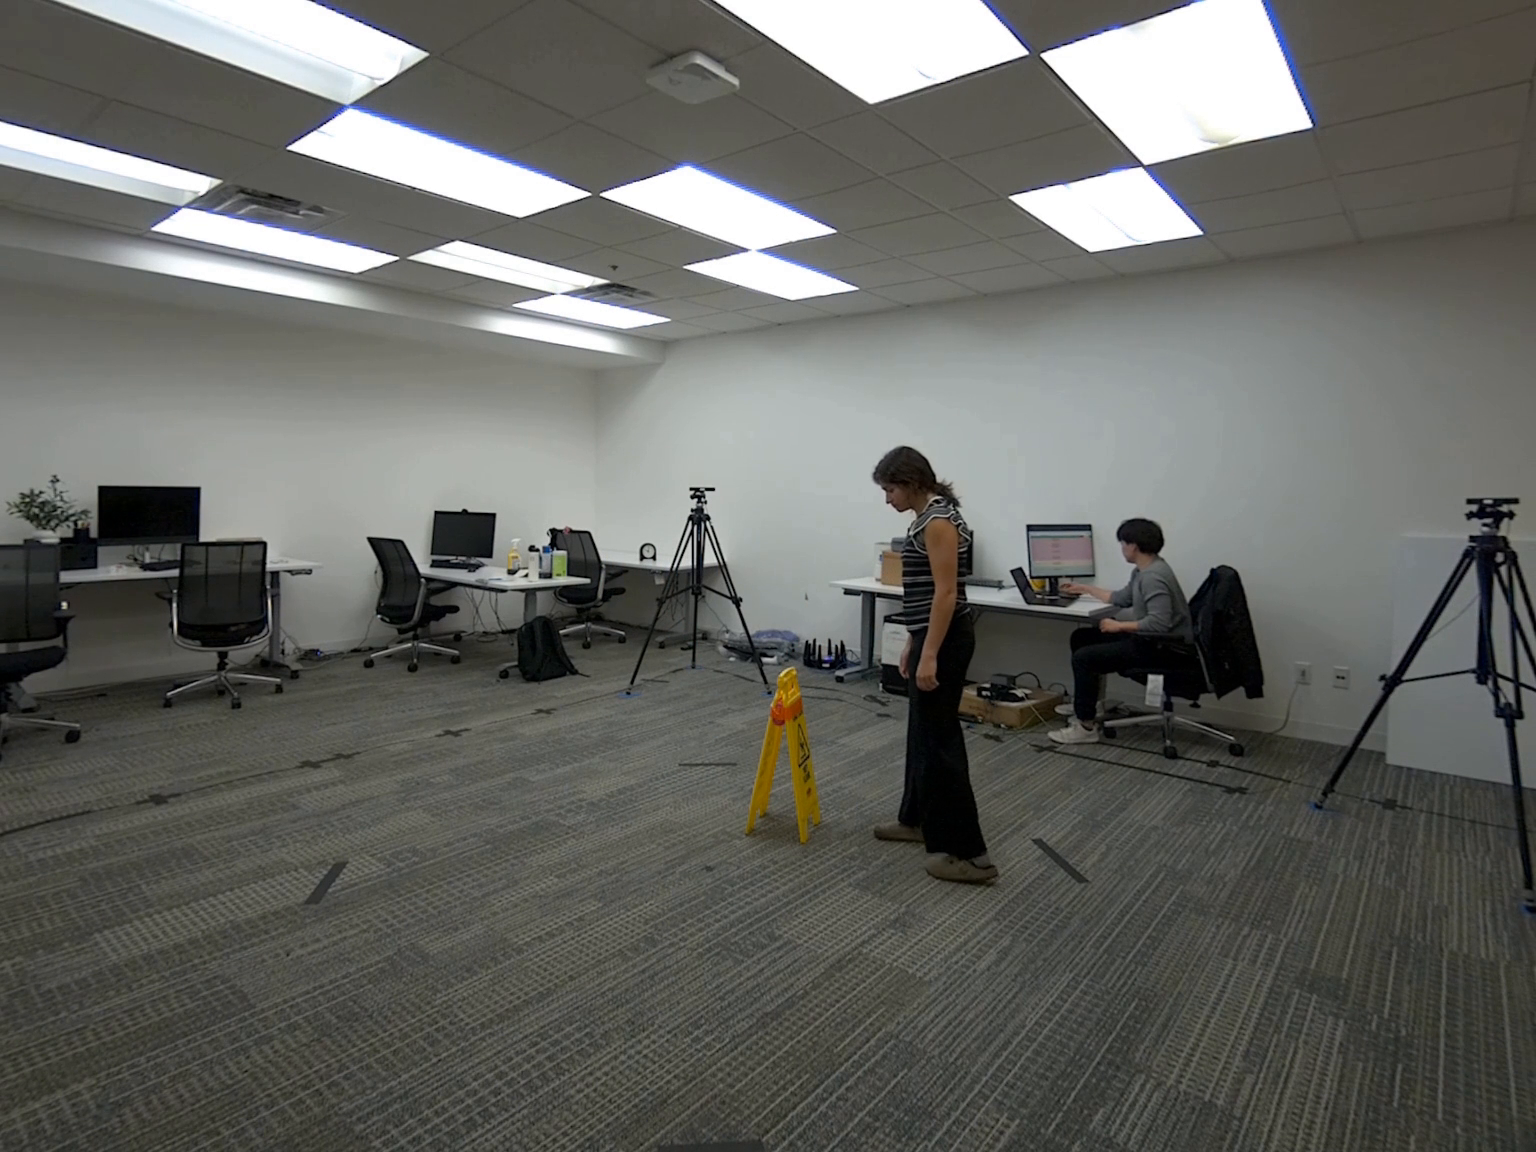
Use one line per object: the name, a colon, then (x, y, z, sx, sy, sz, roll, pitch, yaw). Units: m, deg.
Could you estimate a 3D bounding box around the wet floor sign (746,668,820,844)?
wet floor sign: (0.068, 0.711, 3.499, 0.295, 0.644, 0.278, 3, 4, 17)
